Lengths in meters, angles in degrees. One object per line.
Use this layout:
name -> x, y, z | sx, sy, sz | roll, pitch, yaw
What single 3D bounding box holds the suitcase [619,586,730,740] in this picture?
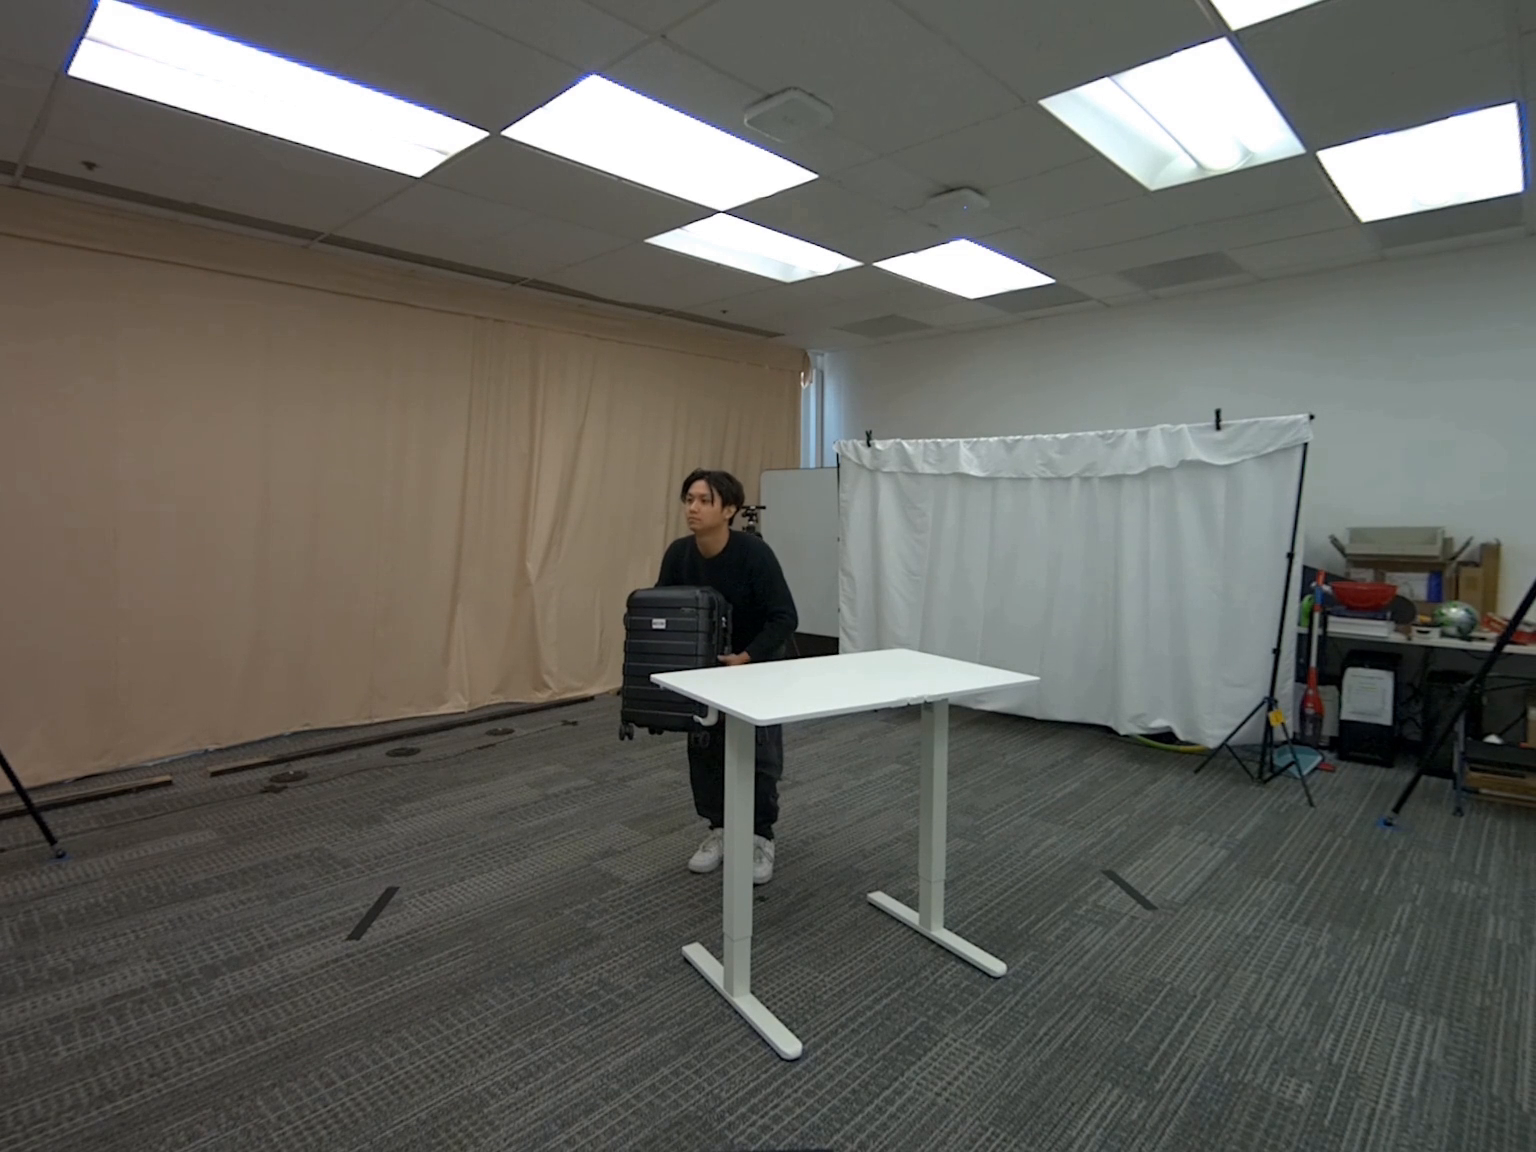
suitcase -> -0.327, 0.311, 3.014 | 0.384, 0.551, 0.241 | -2, -6, 24
